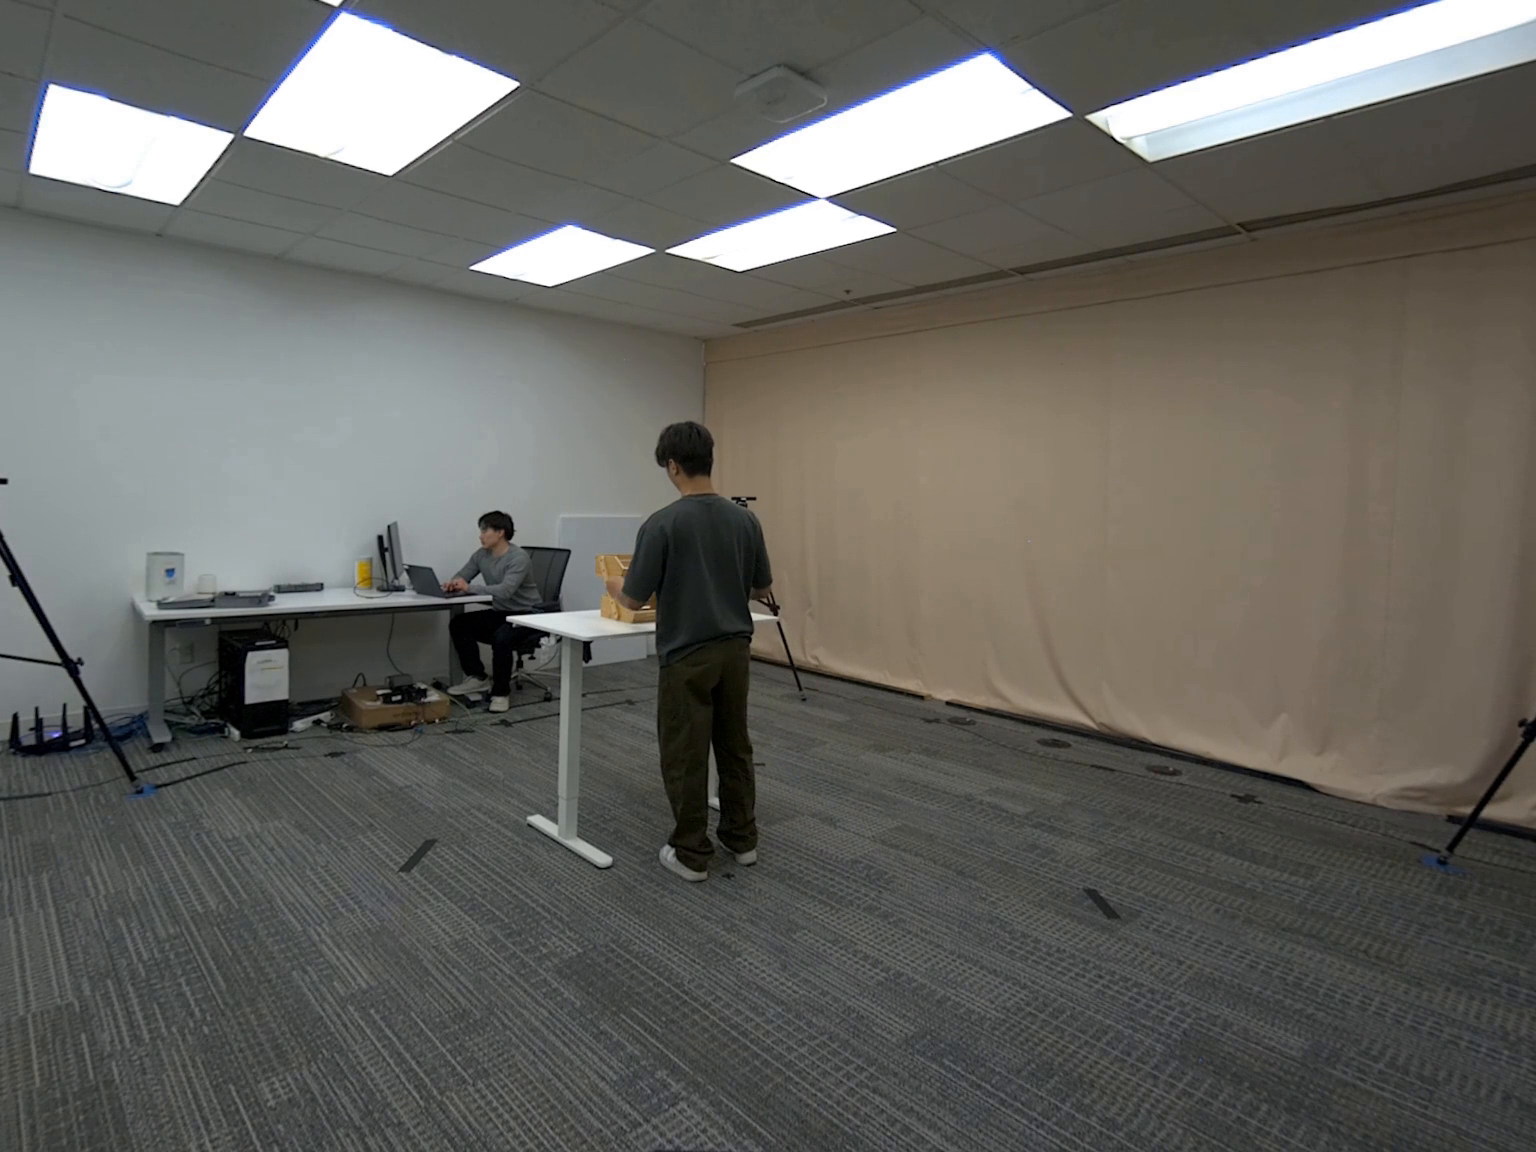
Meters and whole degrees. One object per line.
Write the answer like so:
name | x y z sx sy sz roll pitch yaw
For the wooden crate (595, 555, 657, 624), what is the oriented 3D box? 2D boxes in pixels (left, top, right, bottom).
wooden crate | -0.529 0.042 3.562 0.317 0.273 0.310 -2 5 -43
